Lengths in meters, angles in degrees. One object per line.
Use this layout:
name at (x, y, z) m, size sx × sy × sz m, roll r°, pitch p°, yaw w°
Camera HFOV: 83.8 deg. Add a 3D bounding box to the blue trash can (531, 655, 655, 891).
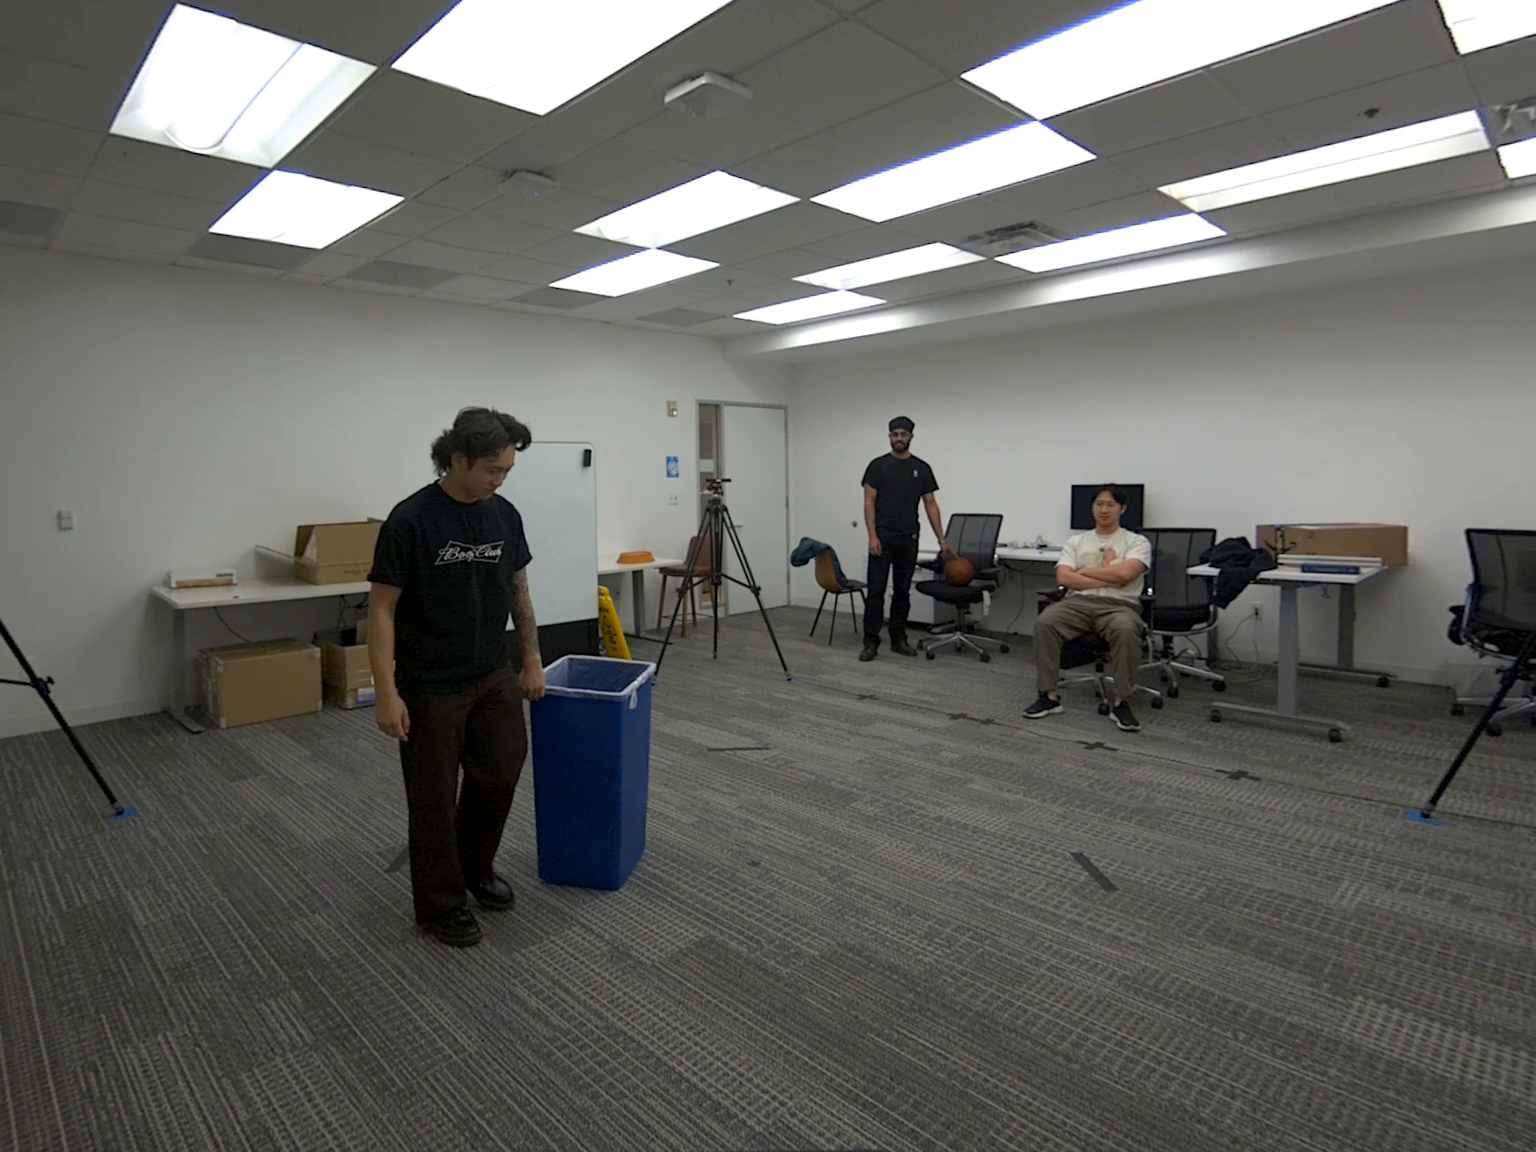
blue trash can at (-0.634, 0.690, 3.037) m, size 0.379 × 0.708 × 0.376 m, roll 3°, pitch 9°, yaw 11°
